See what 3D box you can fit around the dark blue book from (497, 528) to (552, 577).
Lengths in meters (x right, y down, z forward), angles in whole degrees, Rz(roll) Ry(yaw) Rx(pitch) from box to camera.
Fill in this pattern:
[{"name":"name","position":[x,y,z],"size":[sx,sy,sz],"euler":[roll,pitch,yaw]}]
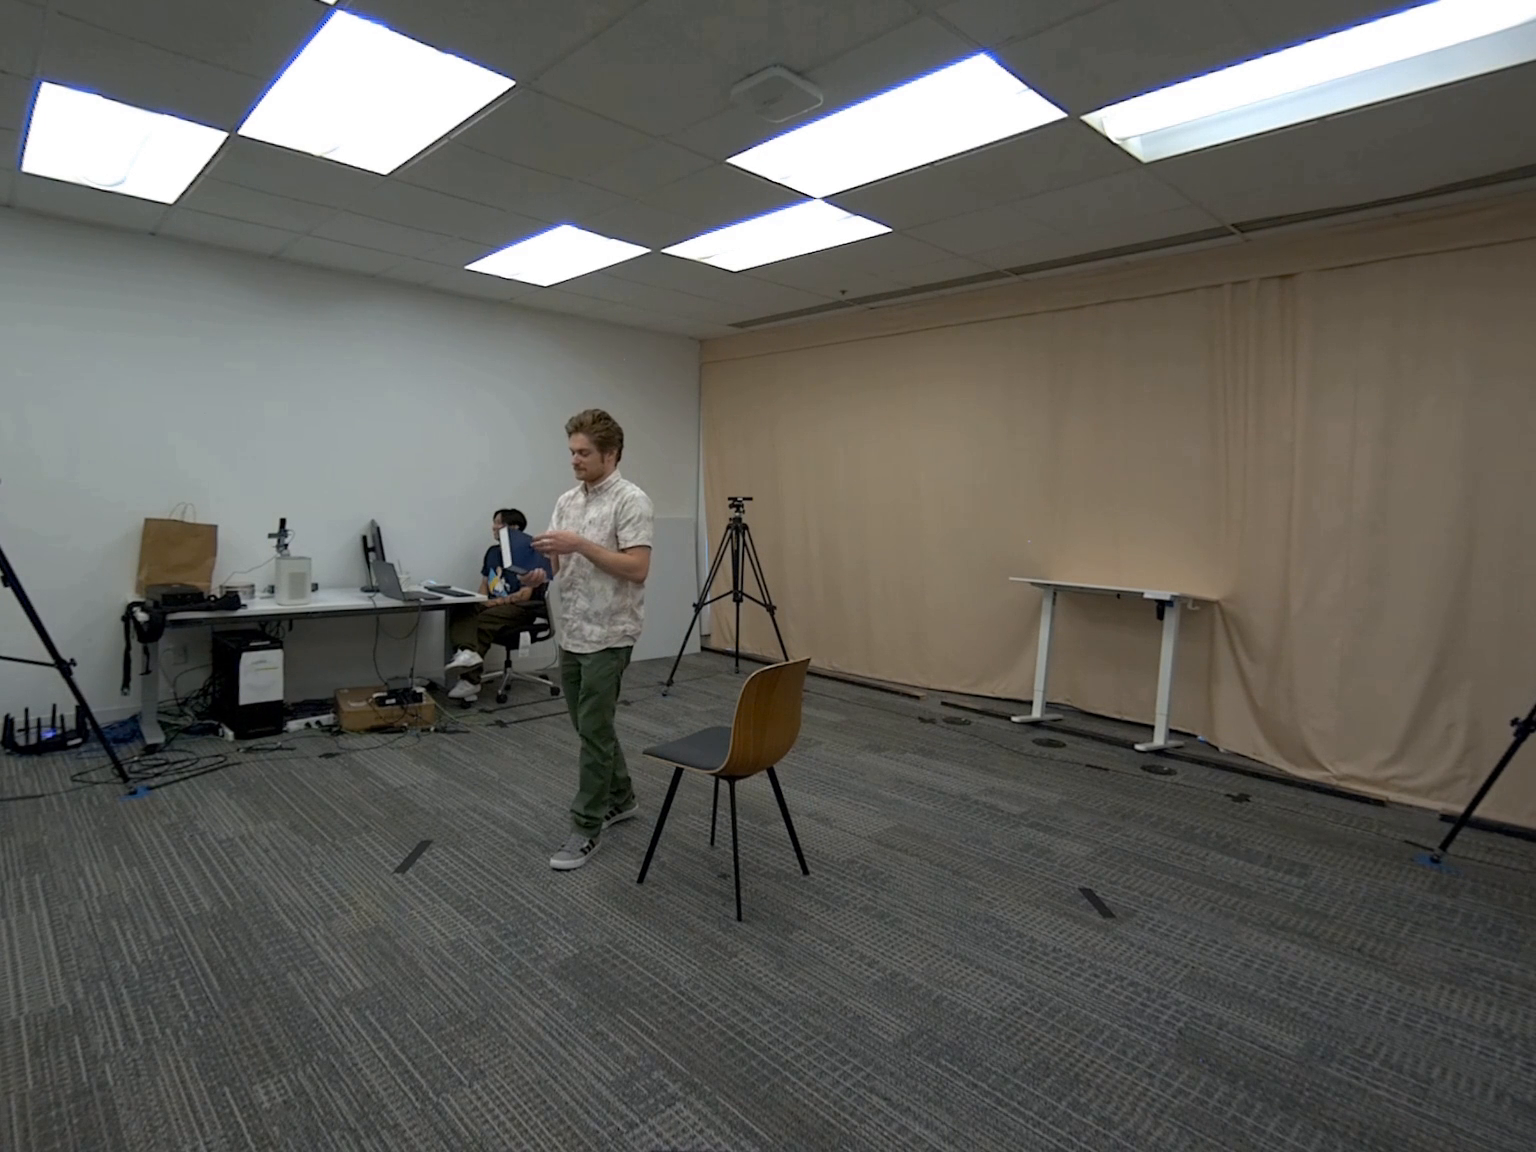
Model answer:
[{"name":"dark blue book","position":[-0.918,-0.078,3.126],"size":[0.045,0.166,0.239],"euler":[-18,-17,15]}]
